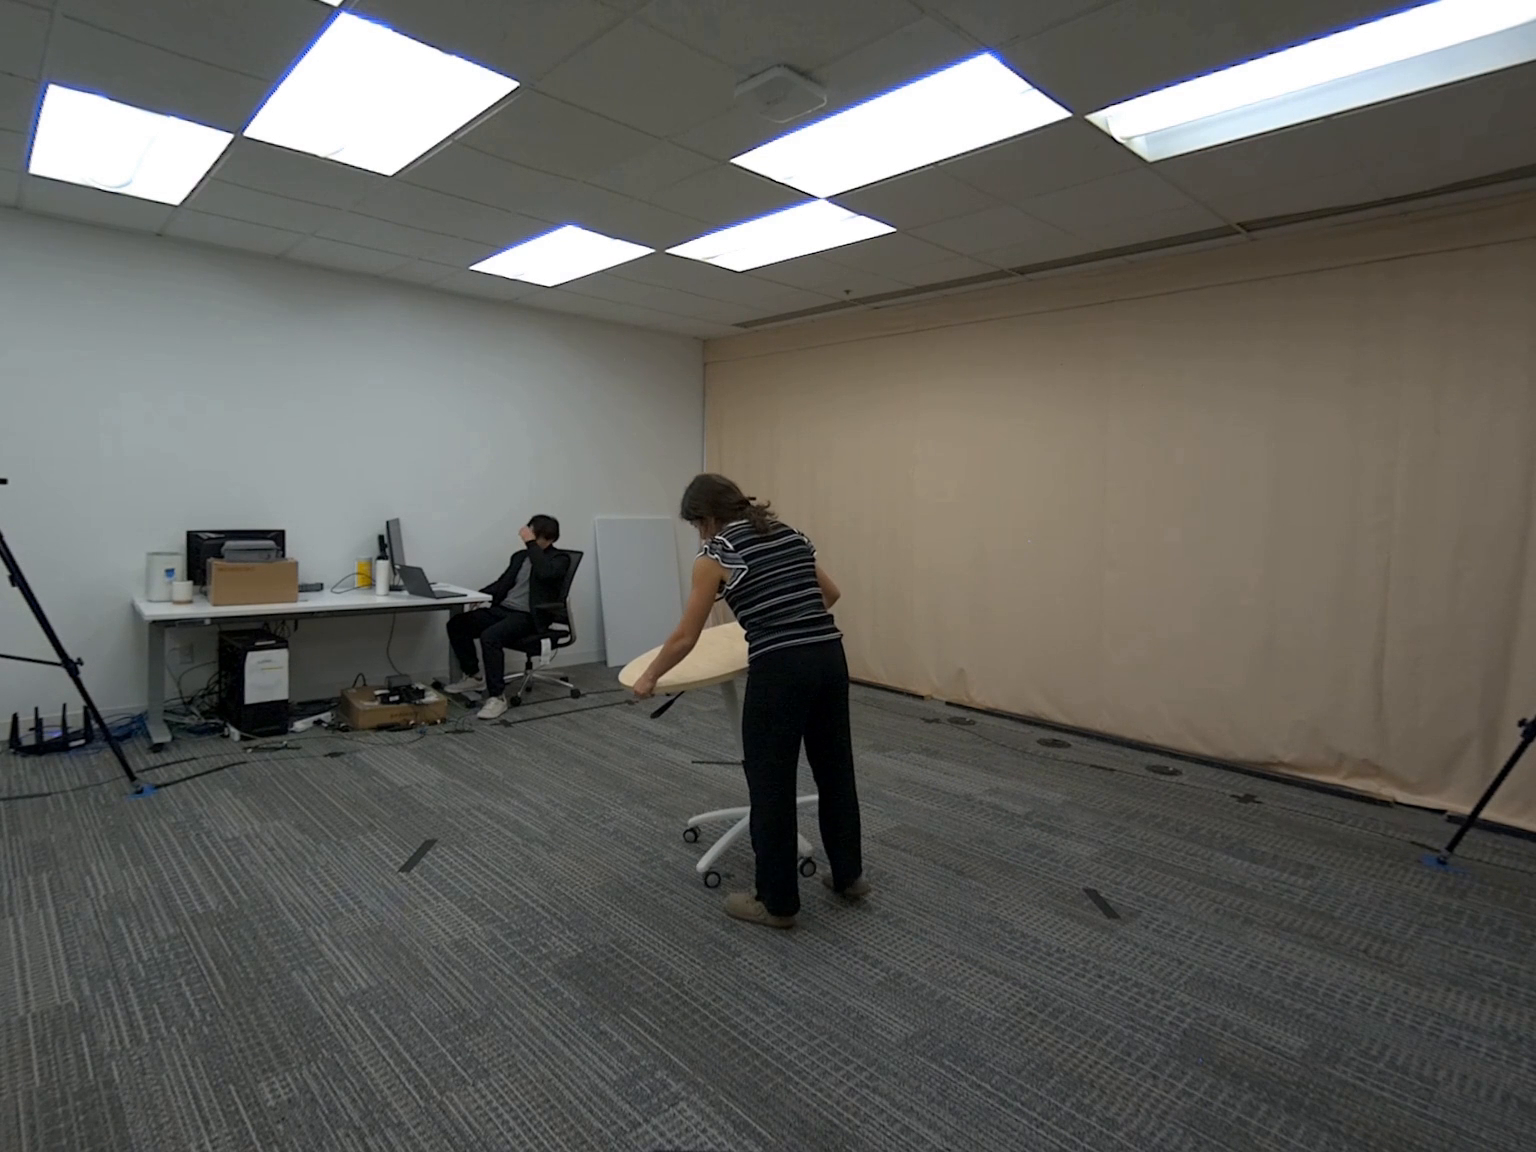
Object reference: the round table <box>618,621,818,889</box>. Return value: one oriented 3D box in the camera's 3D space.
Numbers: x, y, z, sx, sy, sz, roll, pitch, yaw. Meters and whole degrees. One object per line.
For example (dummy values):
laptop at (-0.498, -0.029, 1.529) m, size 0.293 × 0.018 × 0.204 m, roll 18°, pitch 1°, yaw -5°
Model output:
round table at (-0.094, 0.647, 3.208) m, size 0.764 × 0.789 × 0.769 m, roll -14°, pitch 8°, yaw 1°
